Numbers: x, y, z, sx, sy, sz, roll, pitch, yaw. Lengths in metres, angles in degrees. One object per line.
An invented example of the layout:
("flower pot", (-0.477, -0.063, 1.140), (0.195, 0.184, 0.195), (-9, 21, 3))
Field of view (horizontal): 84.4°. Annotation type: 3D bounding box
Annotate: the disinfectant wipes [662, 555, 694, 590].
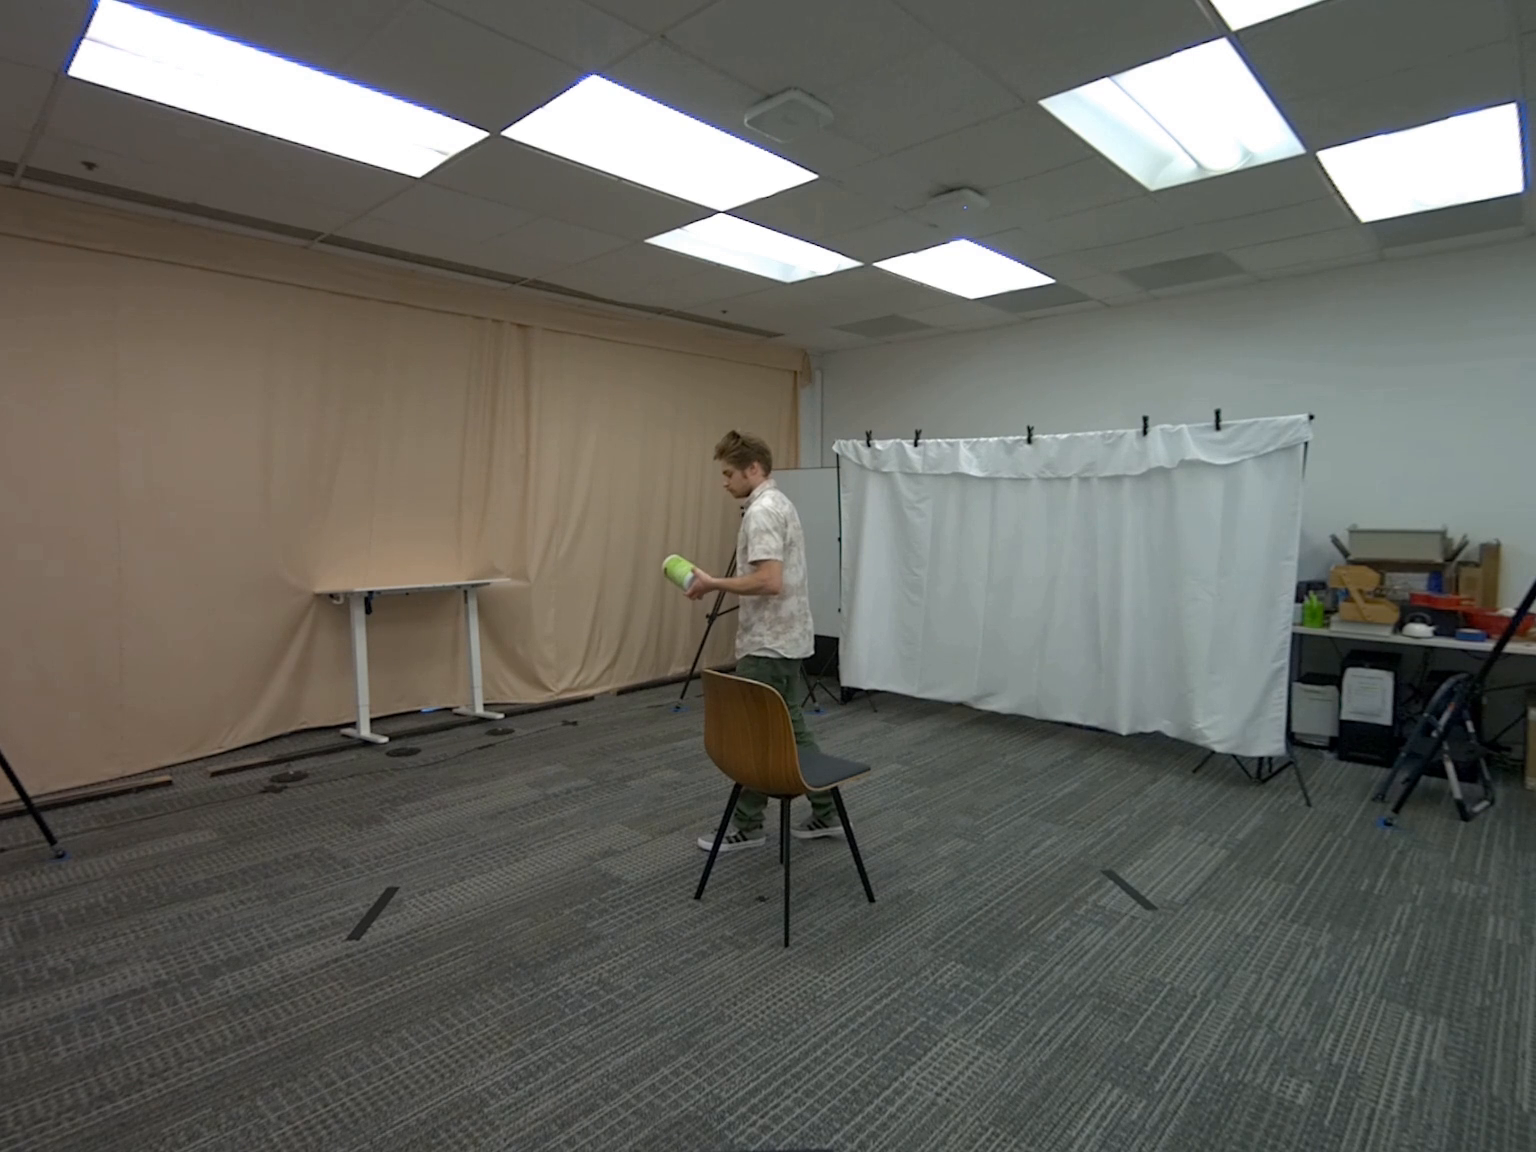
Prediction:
("disinfectant wipes", (-0.341, -0.002, 3.479), (0.114, 0.117, 0.225), (-3, 22, -36))
